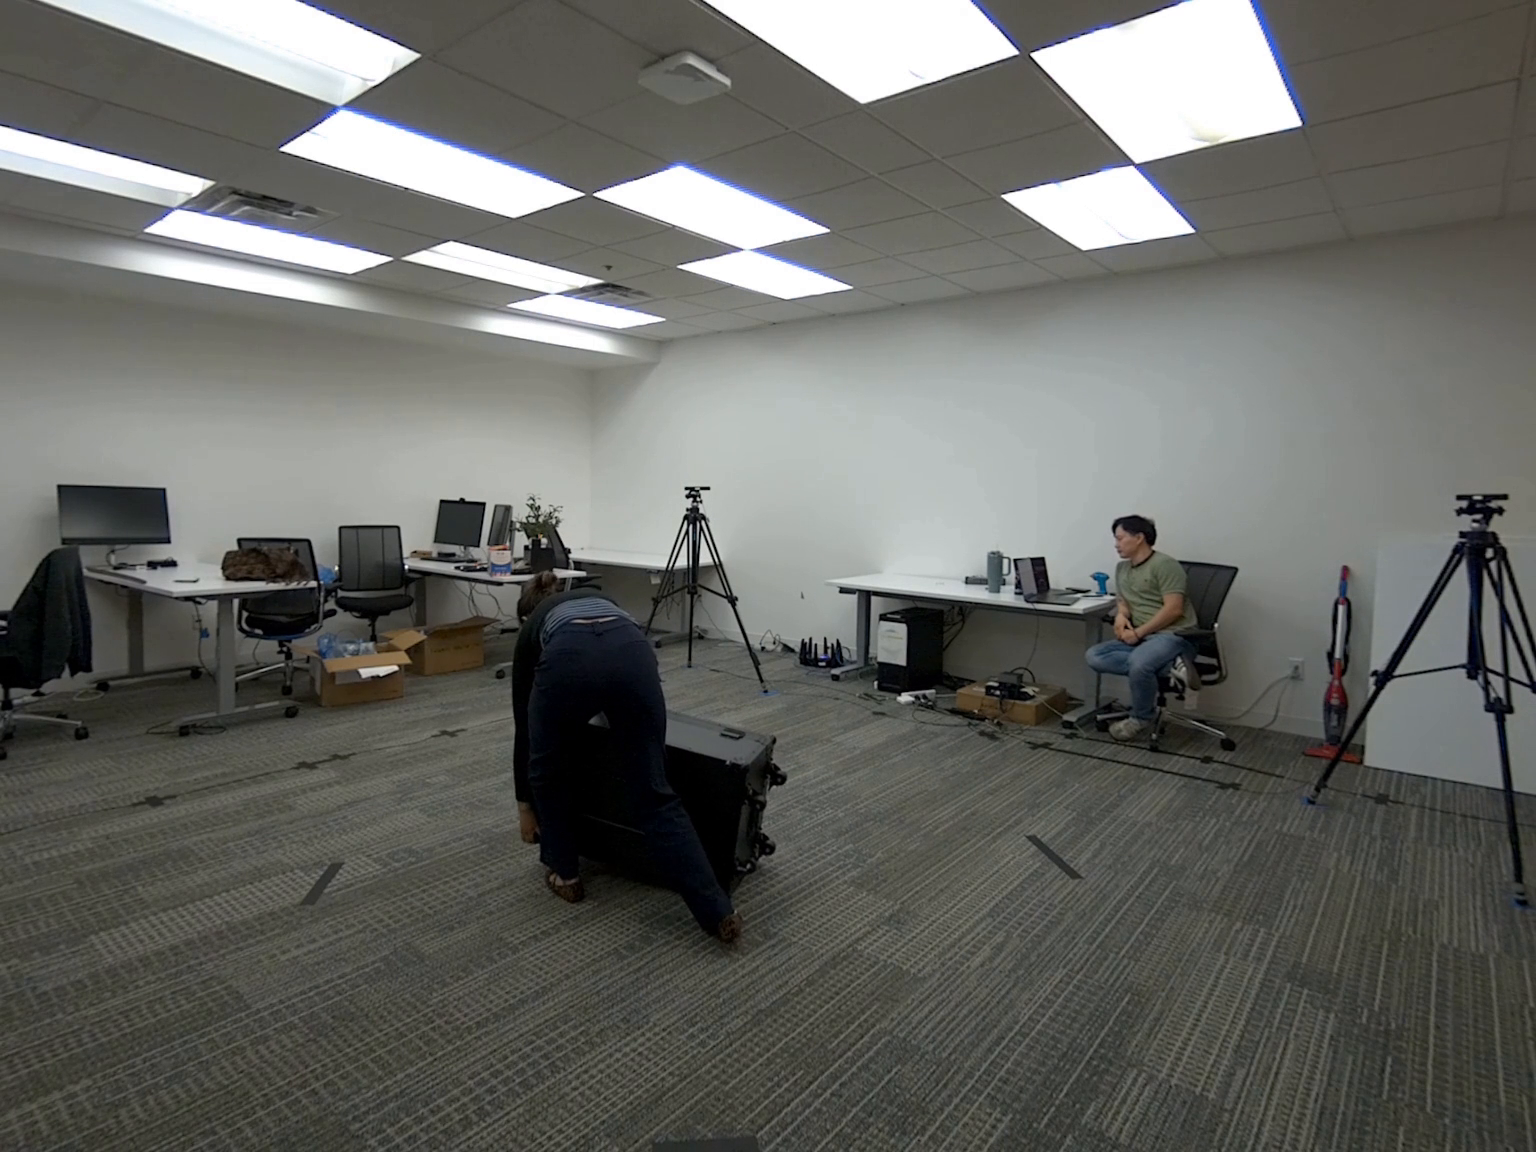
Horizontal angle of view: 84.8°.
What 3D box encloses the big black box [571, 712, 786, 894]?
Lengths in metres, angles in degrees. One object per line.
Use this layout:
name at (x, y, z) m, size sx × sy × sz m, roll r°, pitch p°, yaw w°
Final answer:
big black box at (-0.402, 0.768, 3.077) m, size 0.880 × 0.518 × 0.390 m, roll 10°, pitch 7°, yaw 17°
